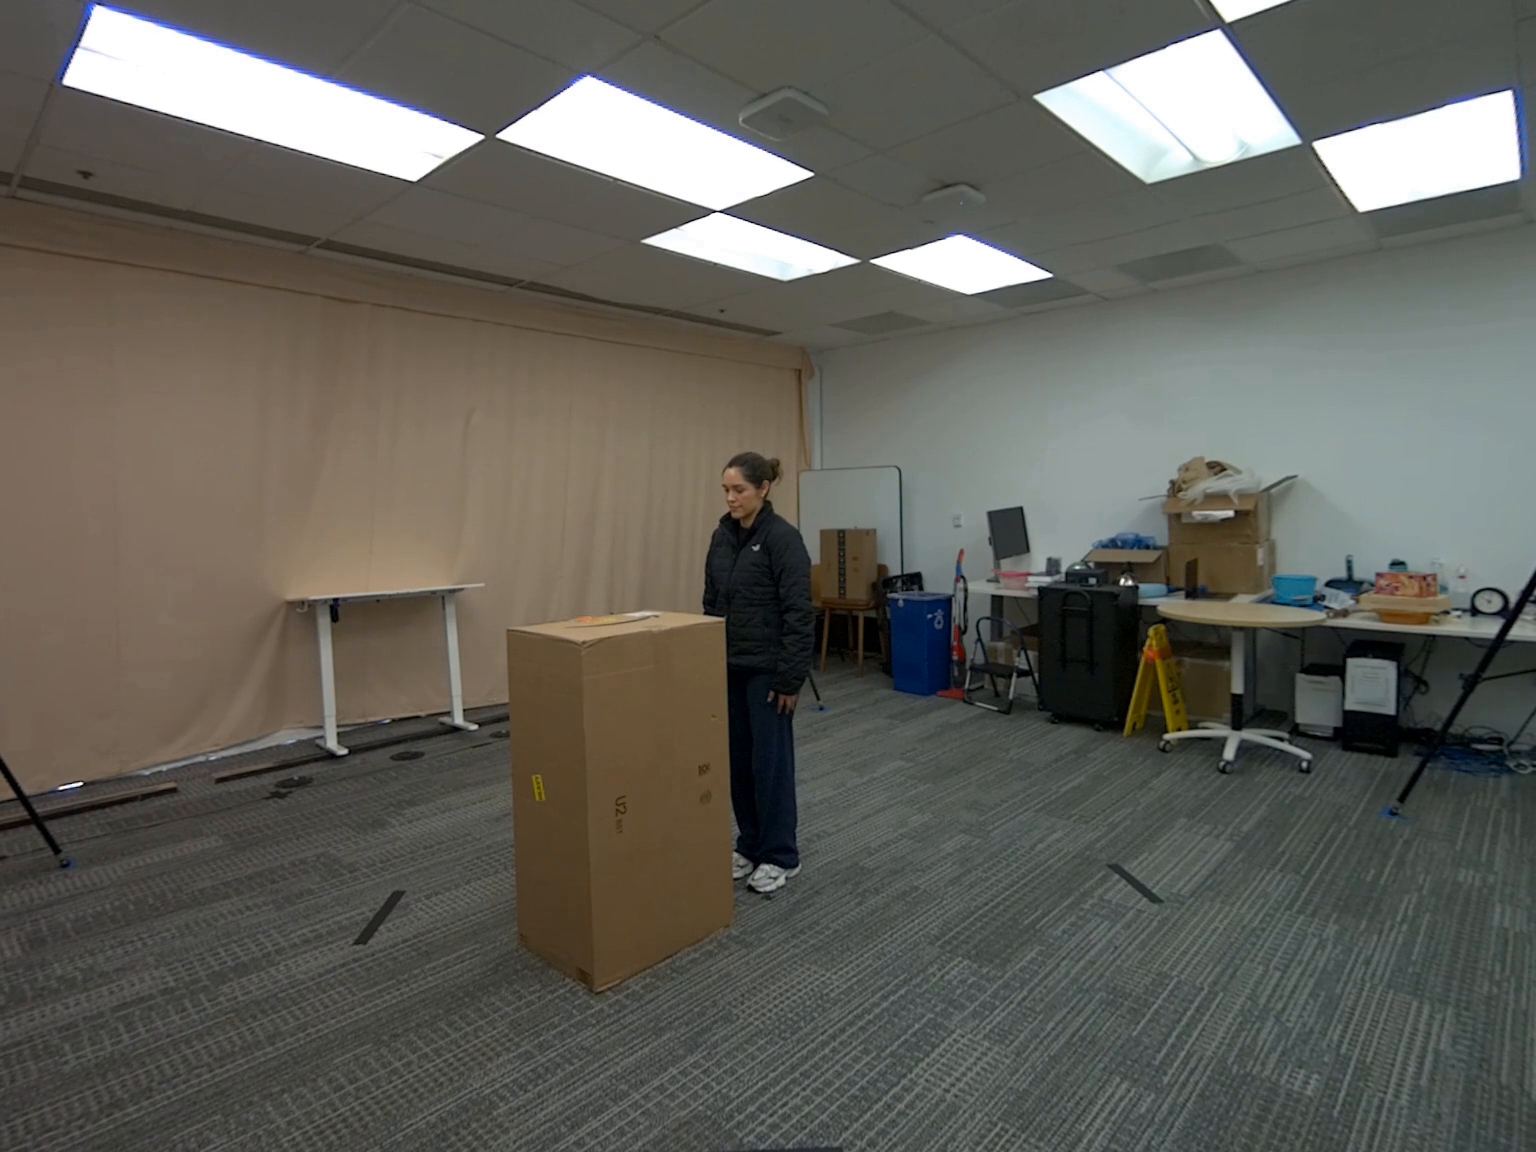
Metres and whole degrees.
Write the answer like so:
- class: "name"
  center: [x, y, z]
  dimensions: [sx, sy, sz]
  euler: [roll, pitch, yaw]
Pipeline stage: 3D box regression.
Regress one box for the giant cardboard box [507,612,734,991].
- class: "giant cardboard box"
  center: [-0.461, 0.663, 2.730]
  dimensions: [0.440, 1.024, 0.560]
  euler: [2, 4, 44]
